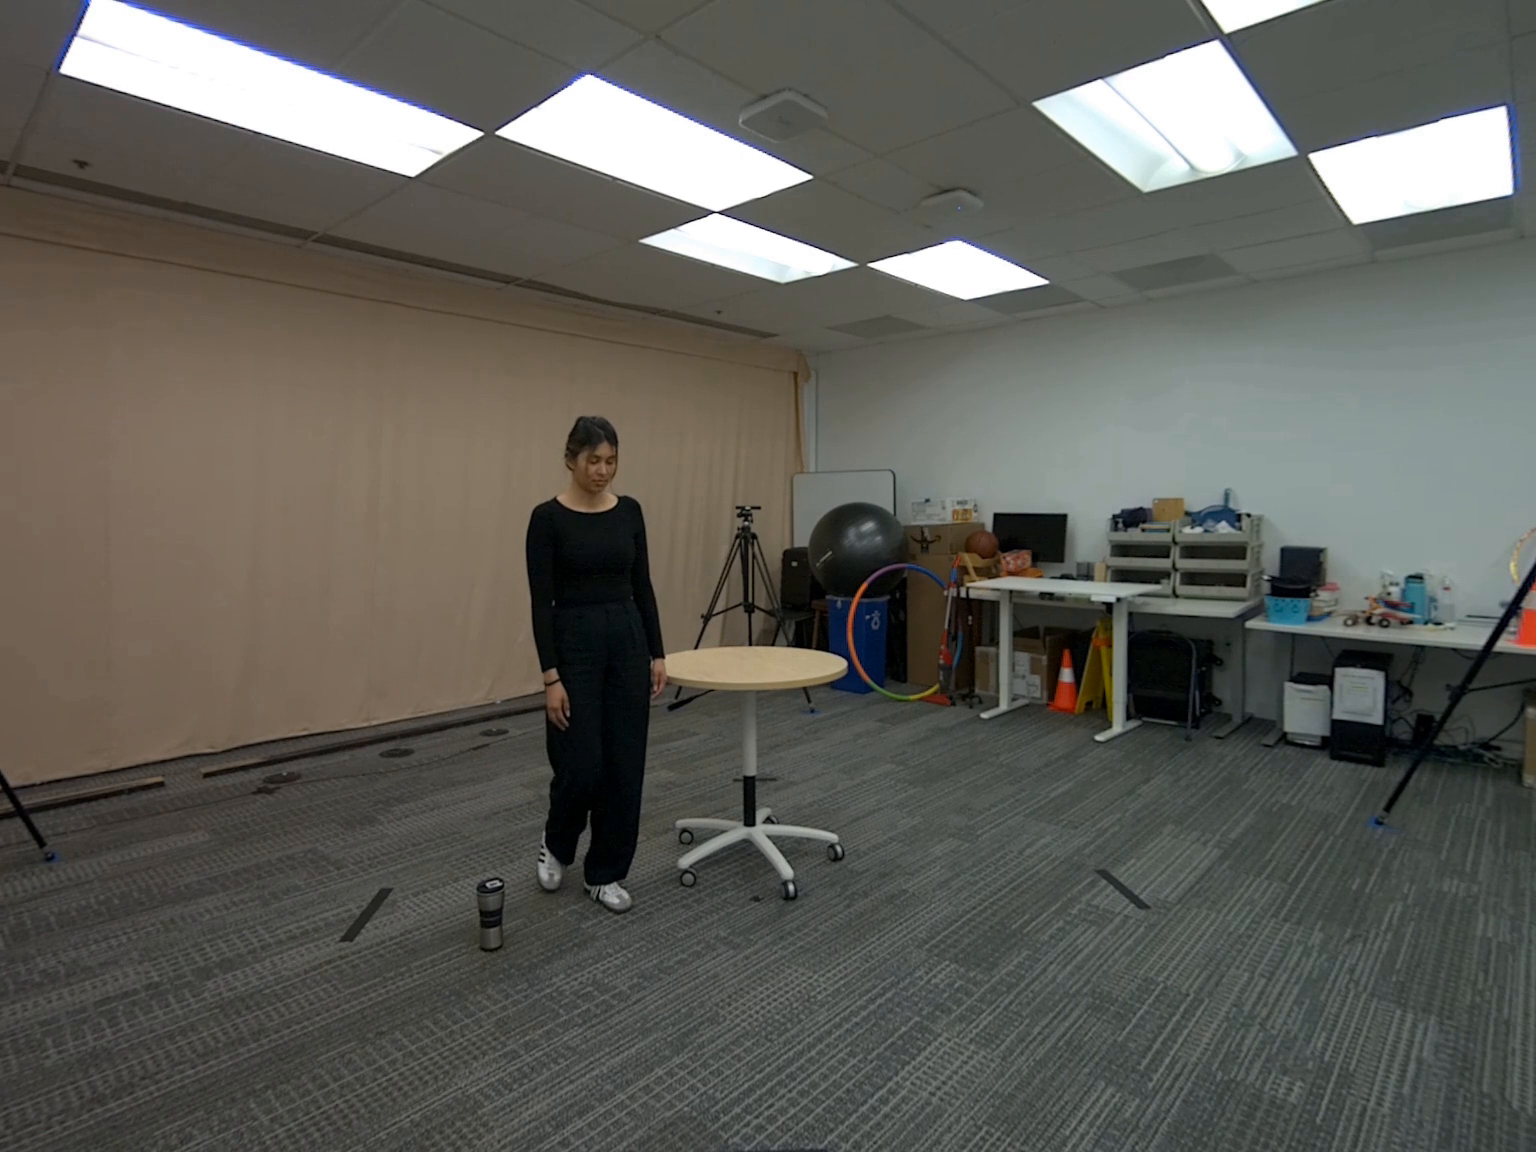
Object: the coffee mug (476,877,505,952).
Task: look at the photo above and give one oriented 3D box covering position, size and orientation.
[{"bbox_3d":[-0.865,1.071,2.682,0.090,0.202,0.118,-4,4,45],"label":"coffee mug"}]
